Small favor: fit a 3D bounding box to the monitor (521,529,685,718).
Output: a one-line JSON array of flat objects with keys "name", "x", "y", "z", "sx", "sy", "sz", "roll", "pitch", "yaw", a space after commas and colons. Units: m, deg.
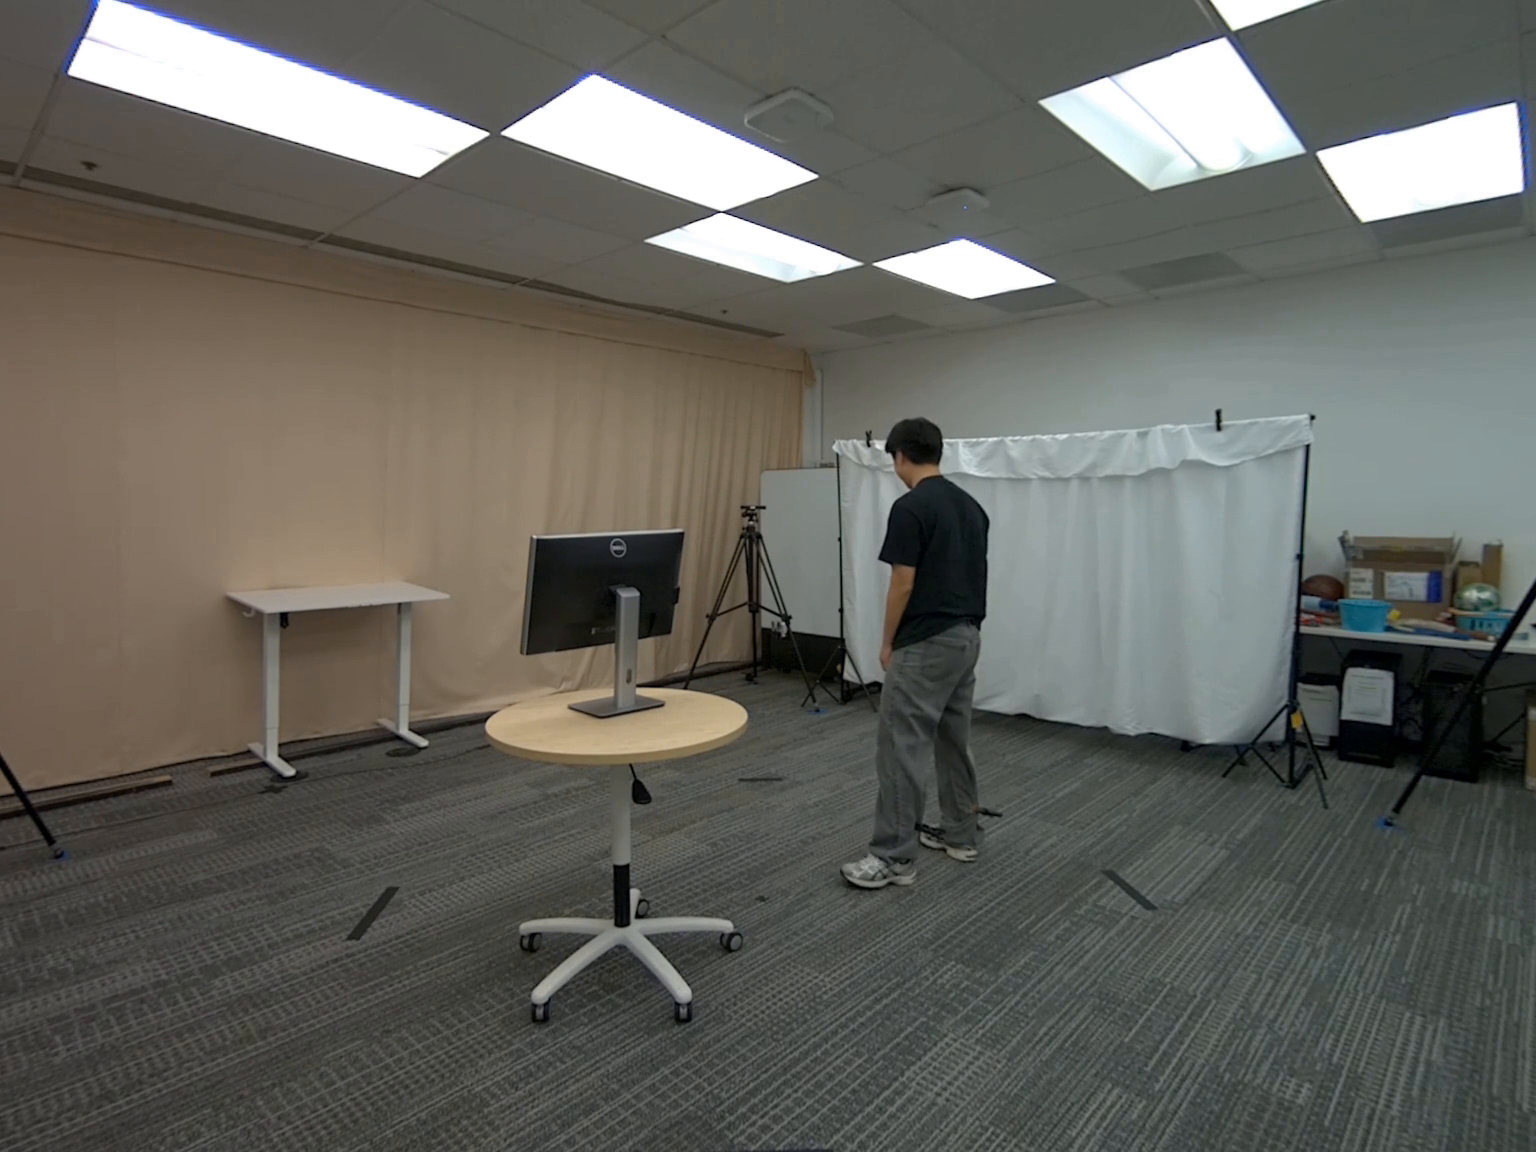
[{"name": "monitor", "x": -0.457, "y": 0.142, "z": 2.574, "sx": 0.548, "sy": 0.551, "sz": 0.217, "roll": -4, "pitch": 11, "yaw": -44}]
